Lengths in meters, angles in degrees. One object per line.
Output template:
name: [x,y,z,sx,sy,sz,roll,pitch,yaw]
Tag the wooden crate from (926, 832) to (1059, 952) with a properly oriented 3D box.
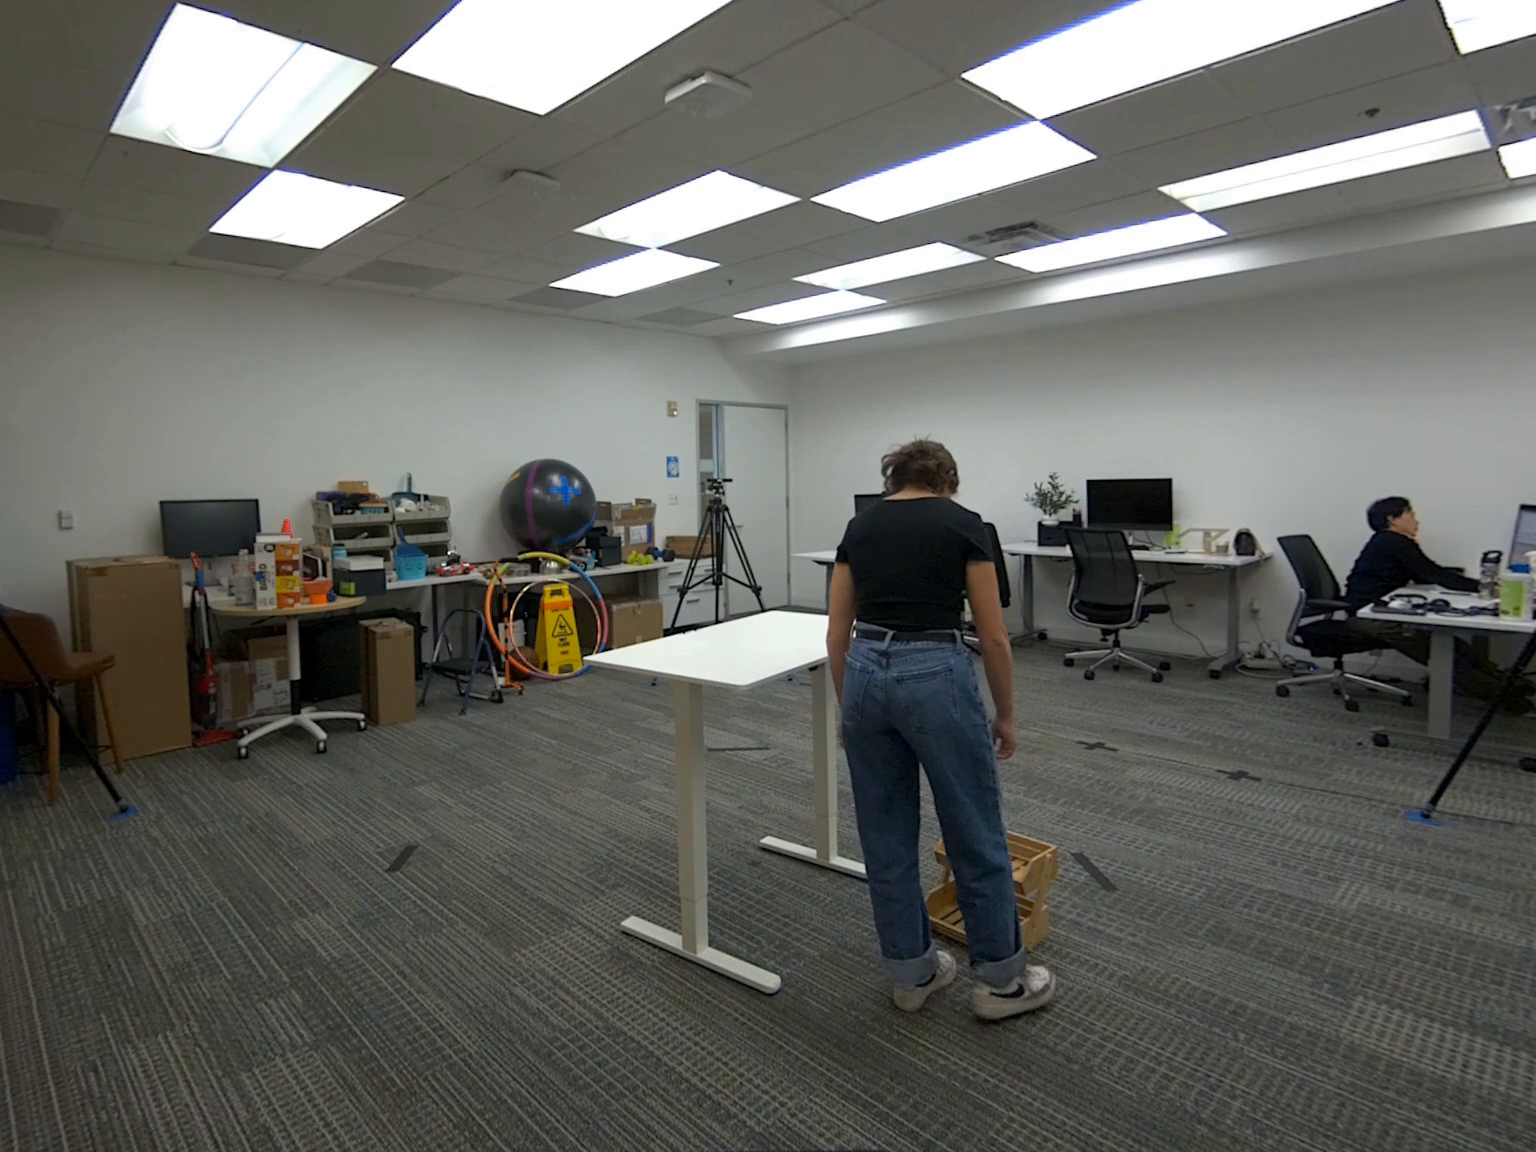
wooden crate: [0.680,0.956,2.619,0.294,0.272,0.334,-5,6,-43]
